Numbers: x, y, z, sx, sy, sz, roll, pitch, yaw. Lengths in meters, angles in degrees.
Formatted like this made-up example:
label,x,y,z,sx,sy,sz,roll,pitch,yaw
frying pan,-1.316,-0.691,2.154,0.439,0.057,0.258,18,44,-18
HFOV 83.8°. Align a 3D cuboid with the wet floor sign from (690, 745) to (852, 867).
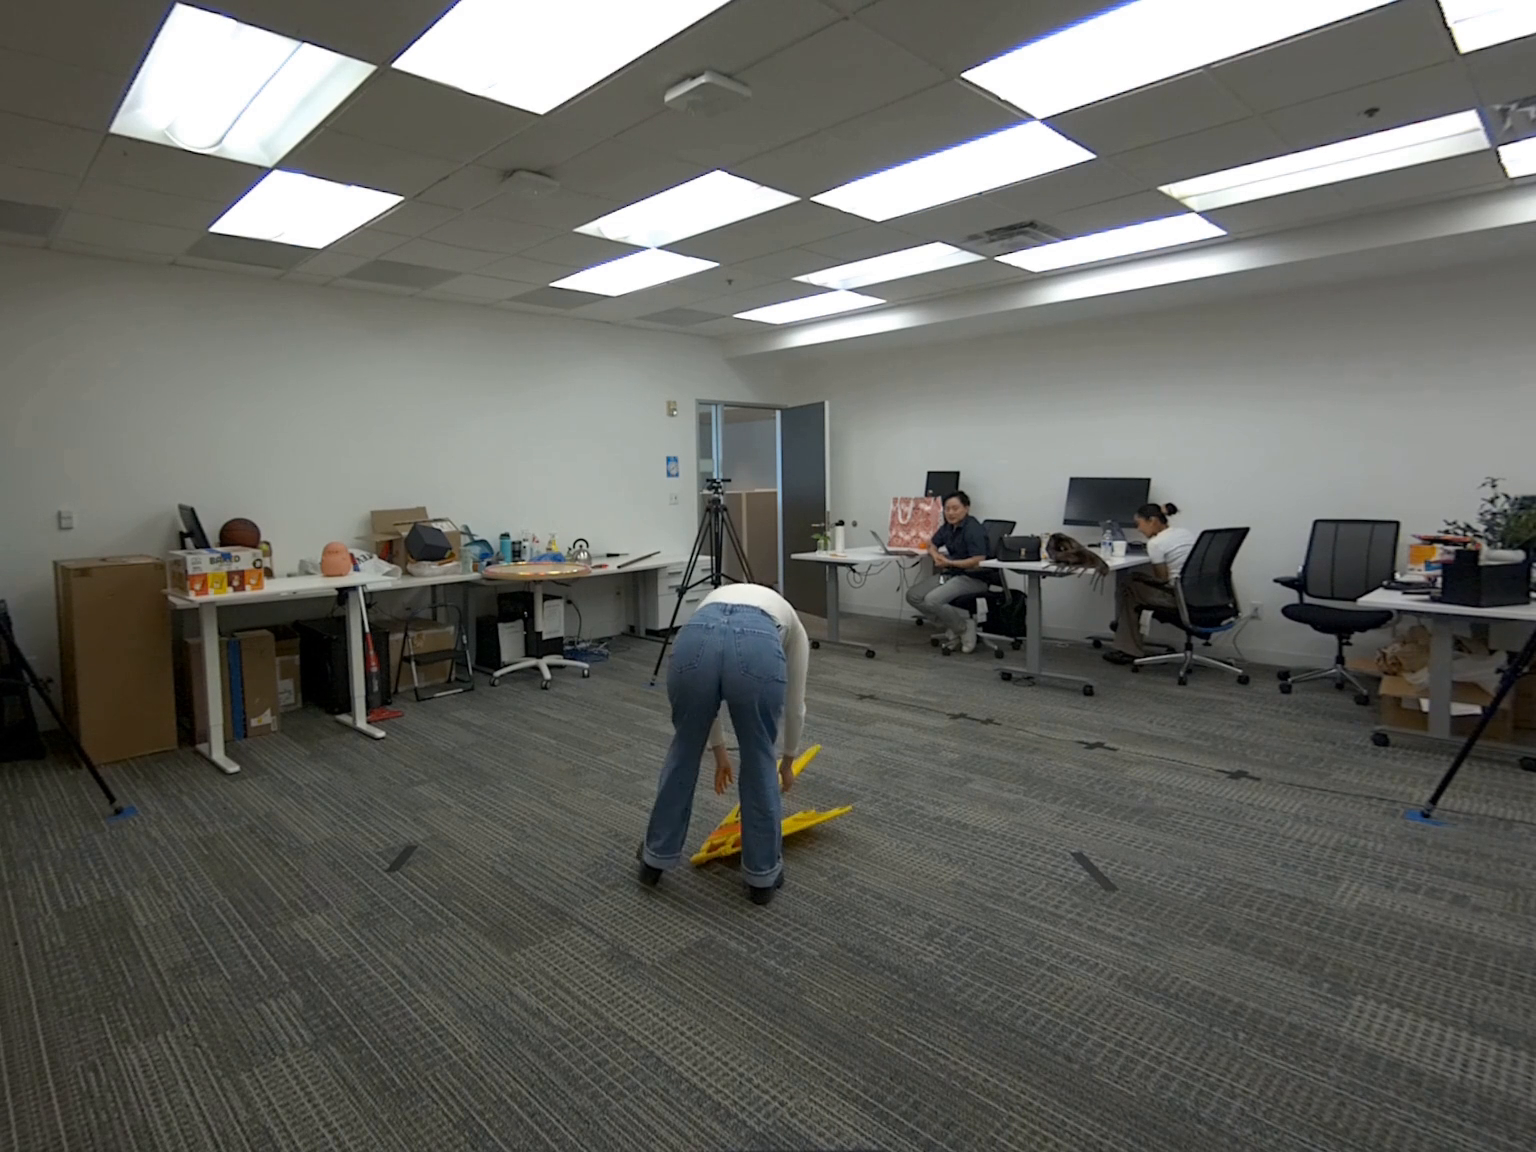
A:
label,x,y,z,sx,sy,sz,roll,pitch,yaw
wet floor sign,-0.013,0.925,3.249,0.634,0.292,0.285,-22,-8,-46
